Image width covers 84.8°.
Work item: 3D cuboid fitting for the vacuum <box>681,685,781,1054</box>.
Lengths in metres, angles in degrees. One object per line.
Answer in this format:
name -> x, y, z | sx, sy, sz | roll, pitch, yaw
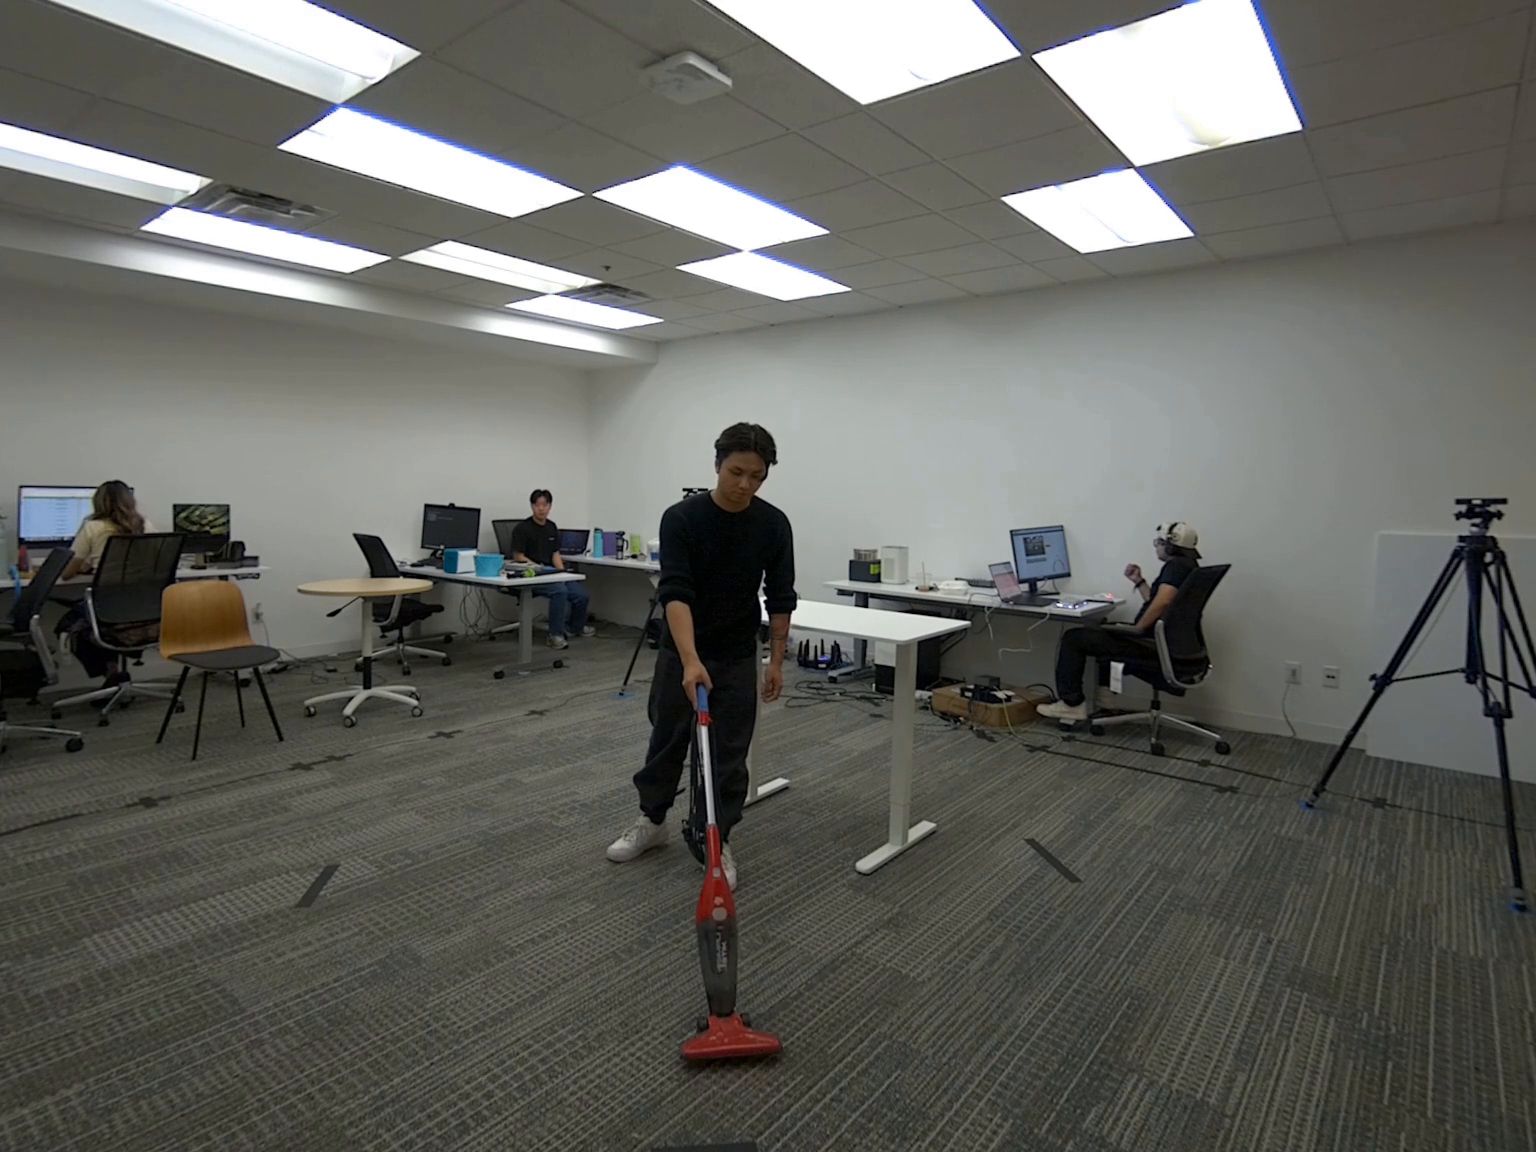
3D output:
vacuum -> -0.168, 0.727, 2.431 | 0.248, 1.083, 0.142 | 4, -38, -17
